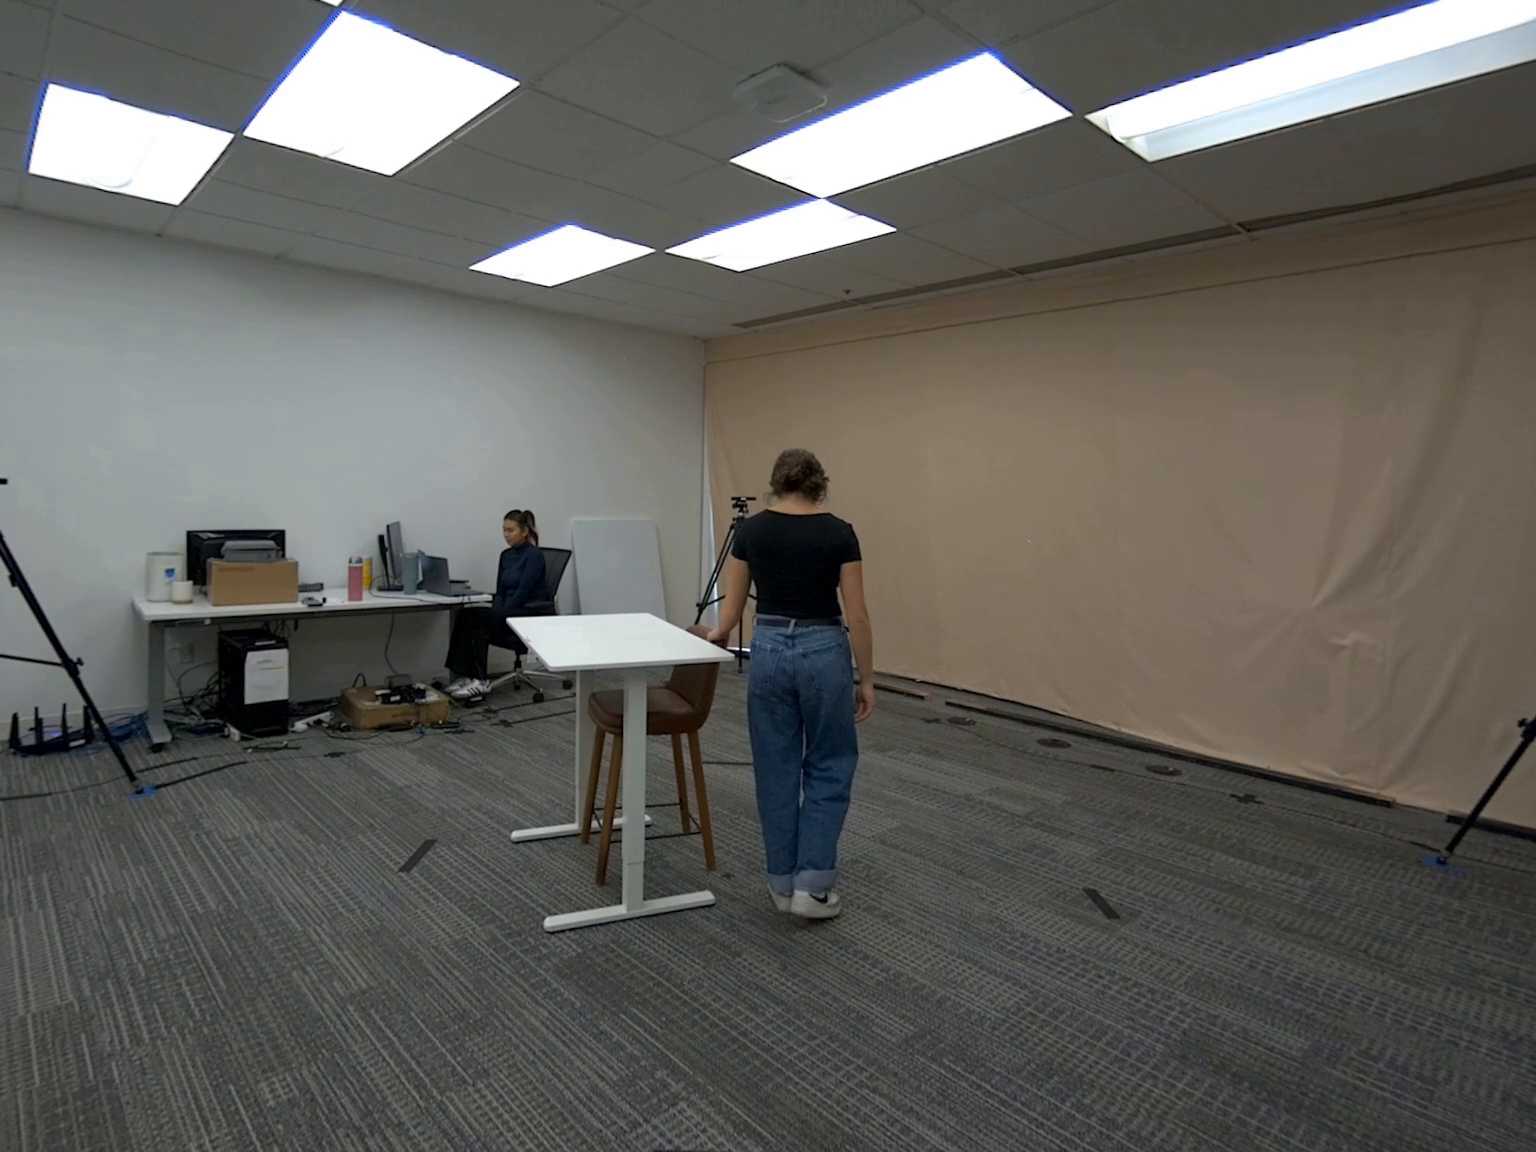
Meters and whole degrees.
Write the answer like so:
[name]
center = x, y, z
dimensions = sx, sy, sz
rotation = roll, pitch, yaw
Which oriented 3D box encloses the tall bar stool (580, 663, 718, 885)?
[tall bar stool]
center = -0.457, 0.658, 3.240
dimensions = 0.460, 0.888, 0.464
rotation = 3, 2, -20
